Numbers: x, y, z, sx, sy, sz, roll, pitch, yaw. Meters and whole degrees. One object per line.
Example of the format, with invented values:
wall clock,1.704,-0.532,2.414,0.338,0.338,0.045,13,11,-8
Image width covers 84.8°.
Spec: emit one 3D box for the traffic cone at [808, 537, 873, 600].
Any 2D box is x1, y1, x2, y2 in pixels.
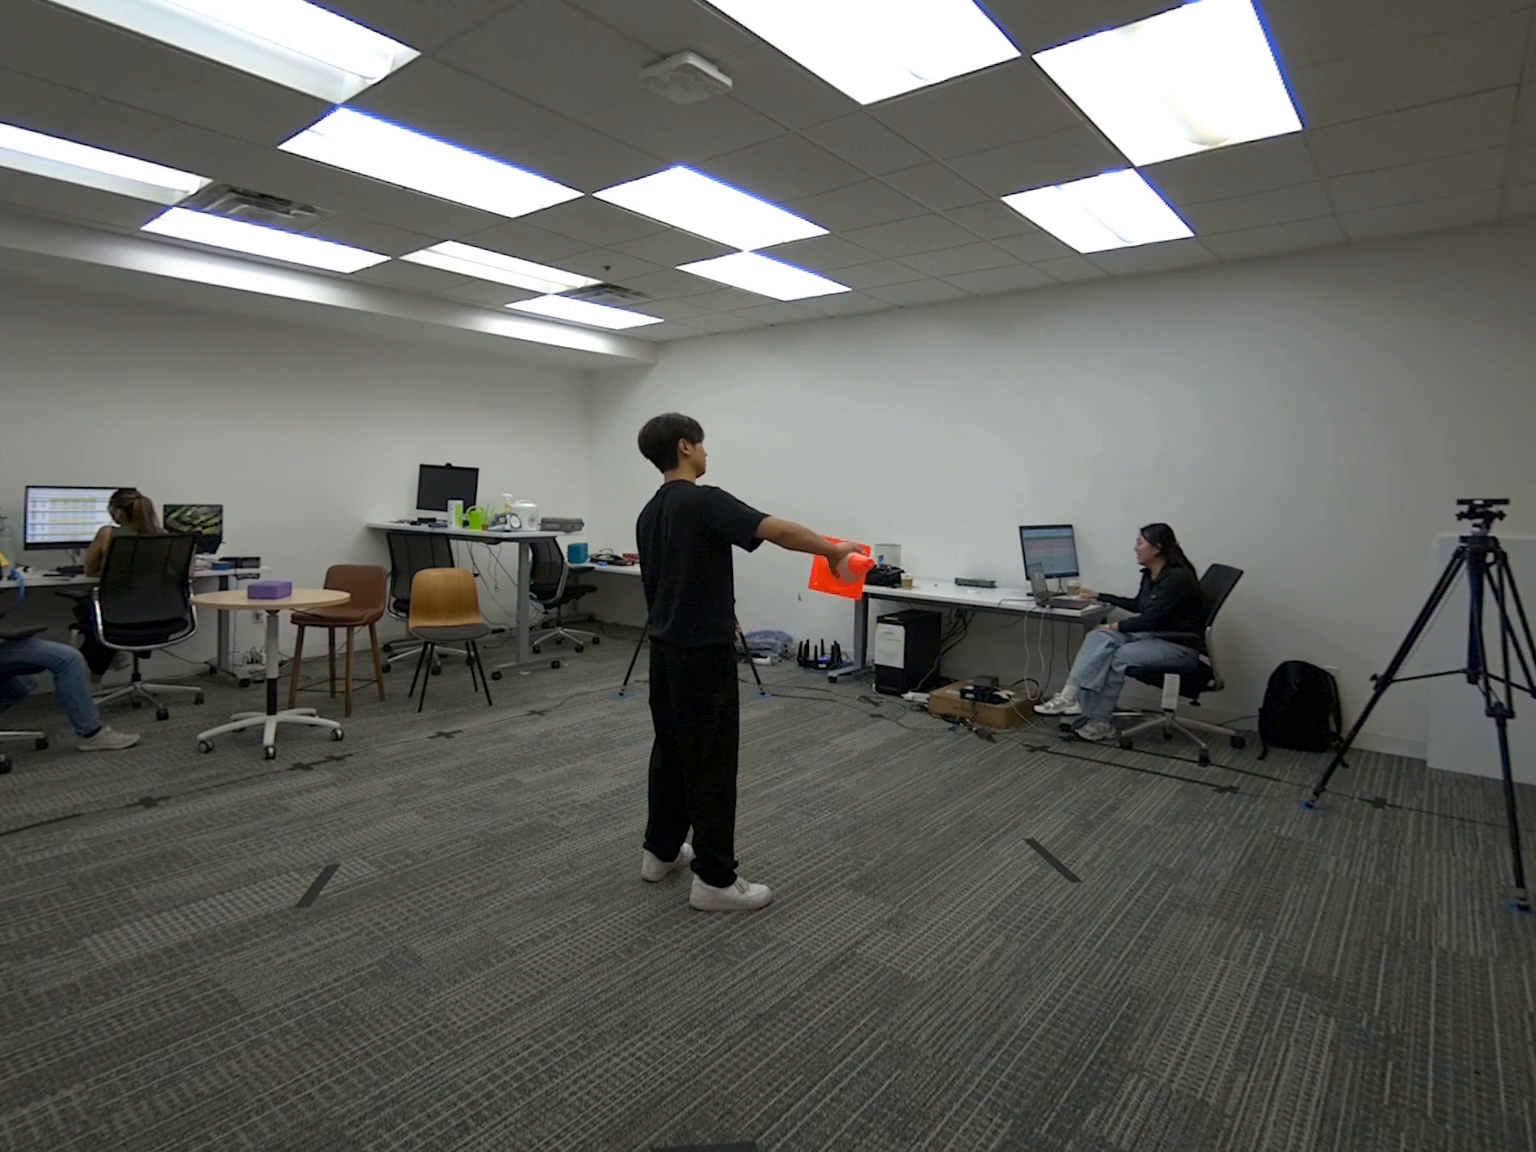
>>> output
traffic cone,0.270,-0.025,2.841,0.202,0.205,0.386,13,-2,-7
